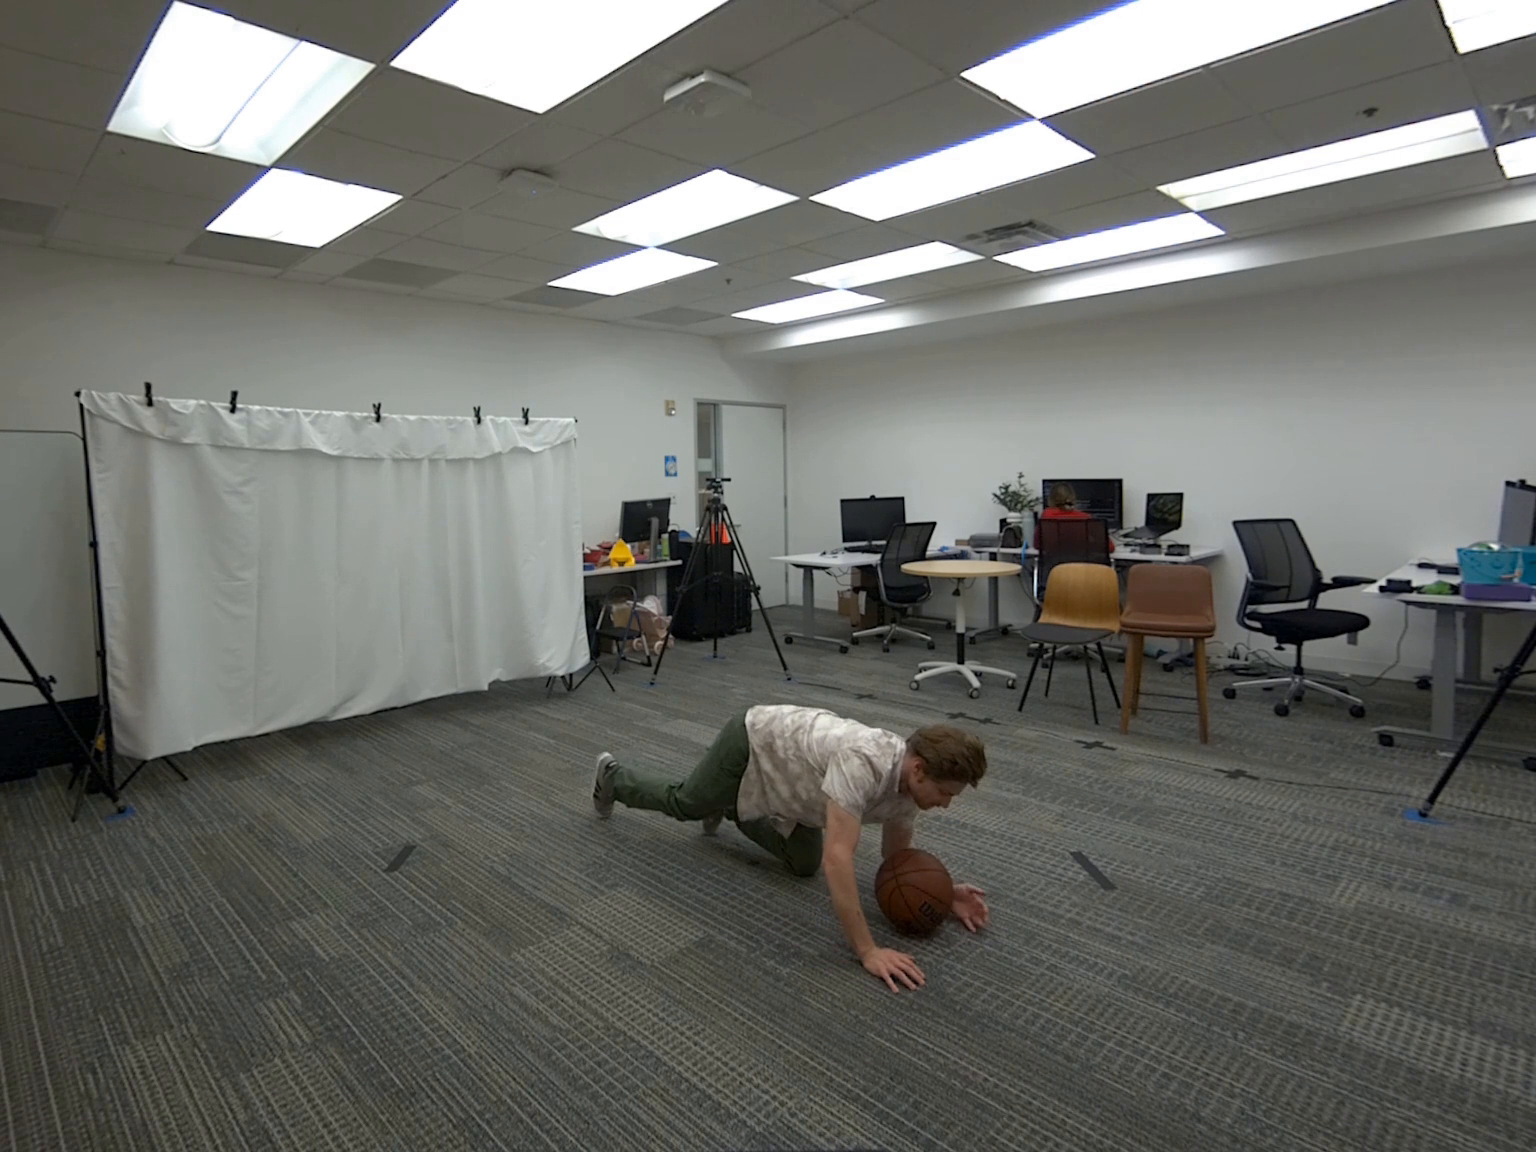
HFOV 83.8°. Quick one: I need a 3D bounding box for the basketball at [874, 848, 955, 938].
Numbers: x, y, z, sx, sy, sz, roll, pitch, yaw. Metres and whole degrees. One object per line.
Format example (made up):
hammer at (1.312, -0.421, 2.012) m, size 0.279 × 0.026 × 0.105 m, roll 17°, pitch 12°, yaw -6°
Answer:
basketball at (0.459, 0.974, 2.631) m, size 0.236 × 0.235 × 0.237 m, roll -1°, pitch 5°, yaw -2°
